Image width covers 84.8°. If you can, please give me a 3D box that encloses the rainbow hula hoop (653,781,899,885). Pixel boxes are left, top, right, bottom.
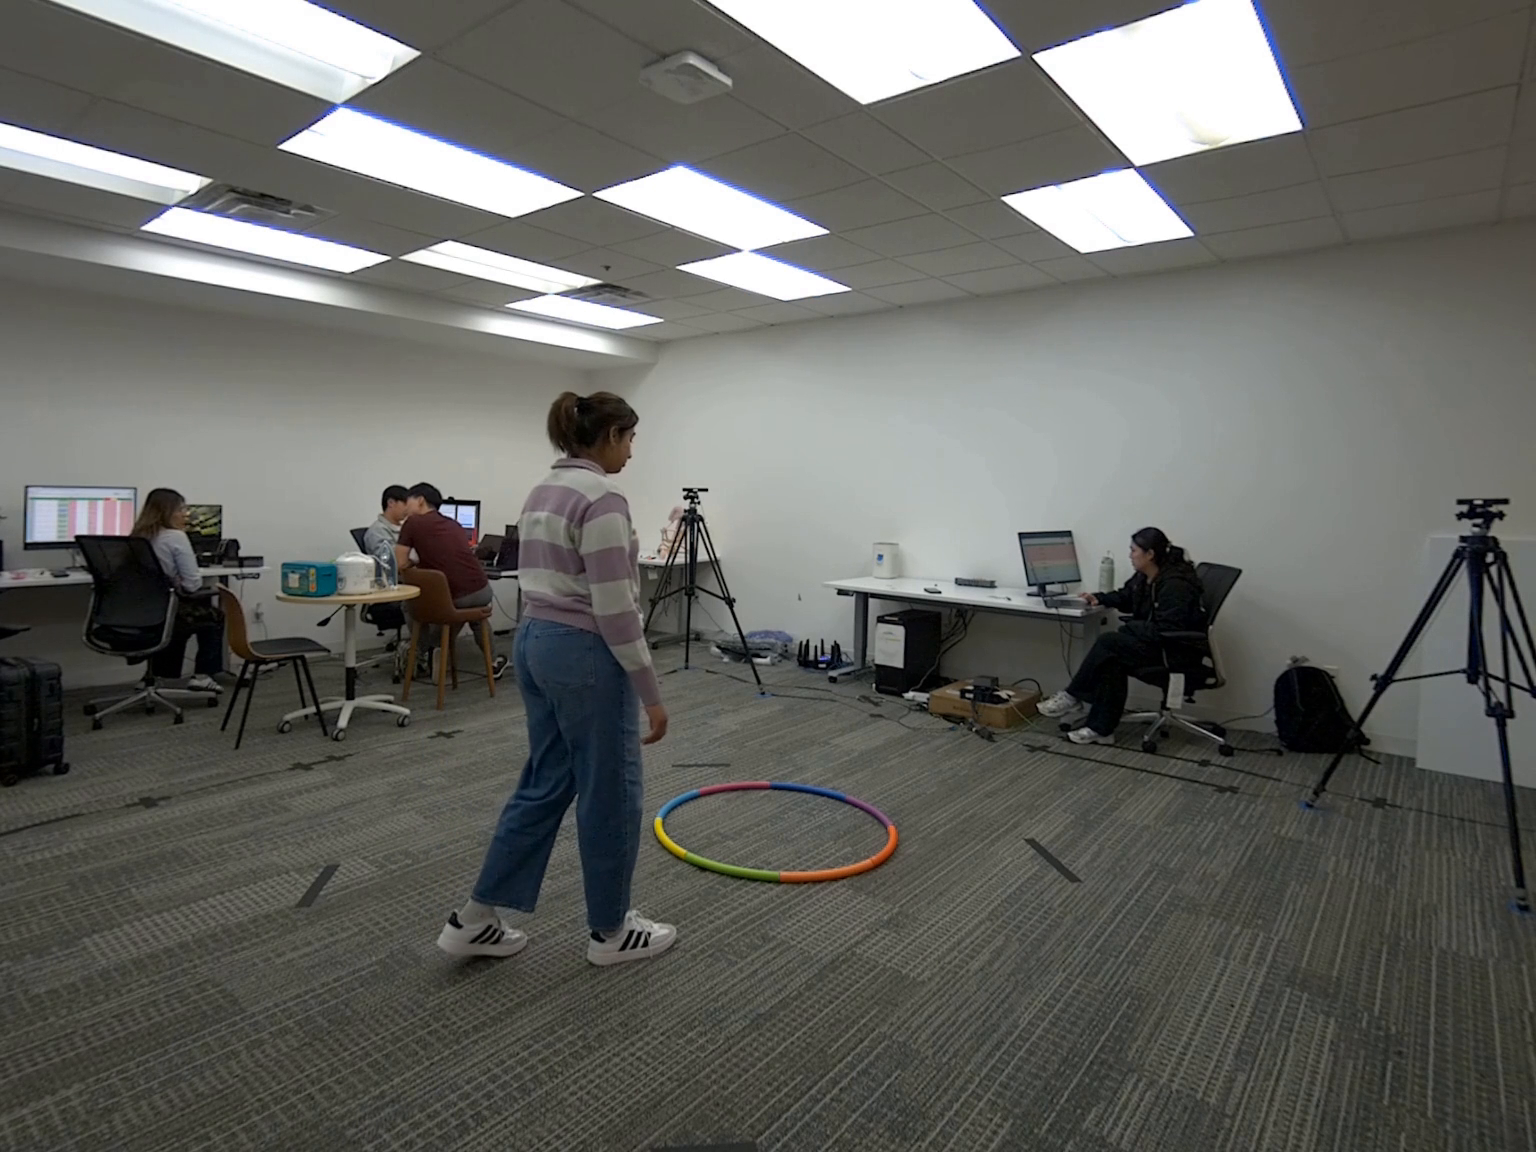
[{"bbox_3d":[0.015,1.008,3.488,0.978,0.035,0.984,1,6,-2],"label":"rainbow hula hoop"}]
